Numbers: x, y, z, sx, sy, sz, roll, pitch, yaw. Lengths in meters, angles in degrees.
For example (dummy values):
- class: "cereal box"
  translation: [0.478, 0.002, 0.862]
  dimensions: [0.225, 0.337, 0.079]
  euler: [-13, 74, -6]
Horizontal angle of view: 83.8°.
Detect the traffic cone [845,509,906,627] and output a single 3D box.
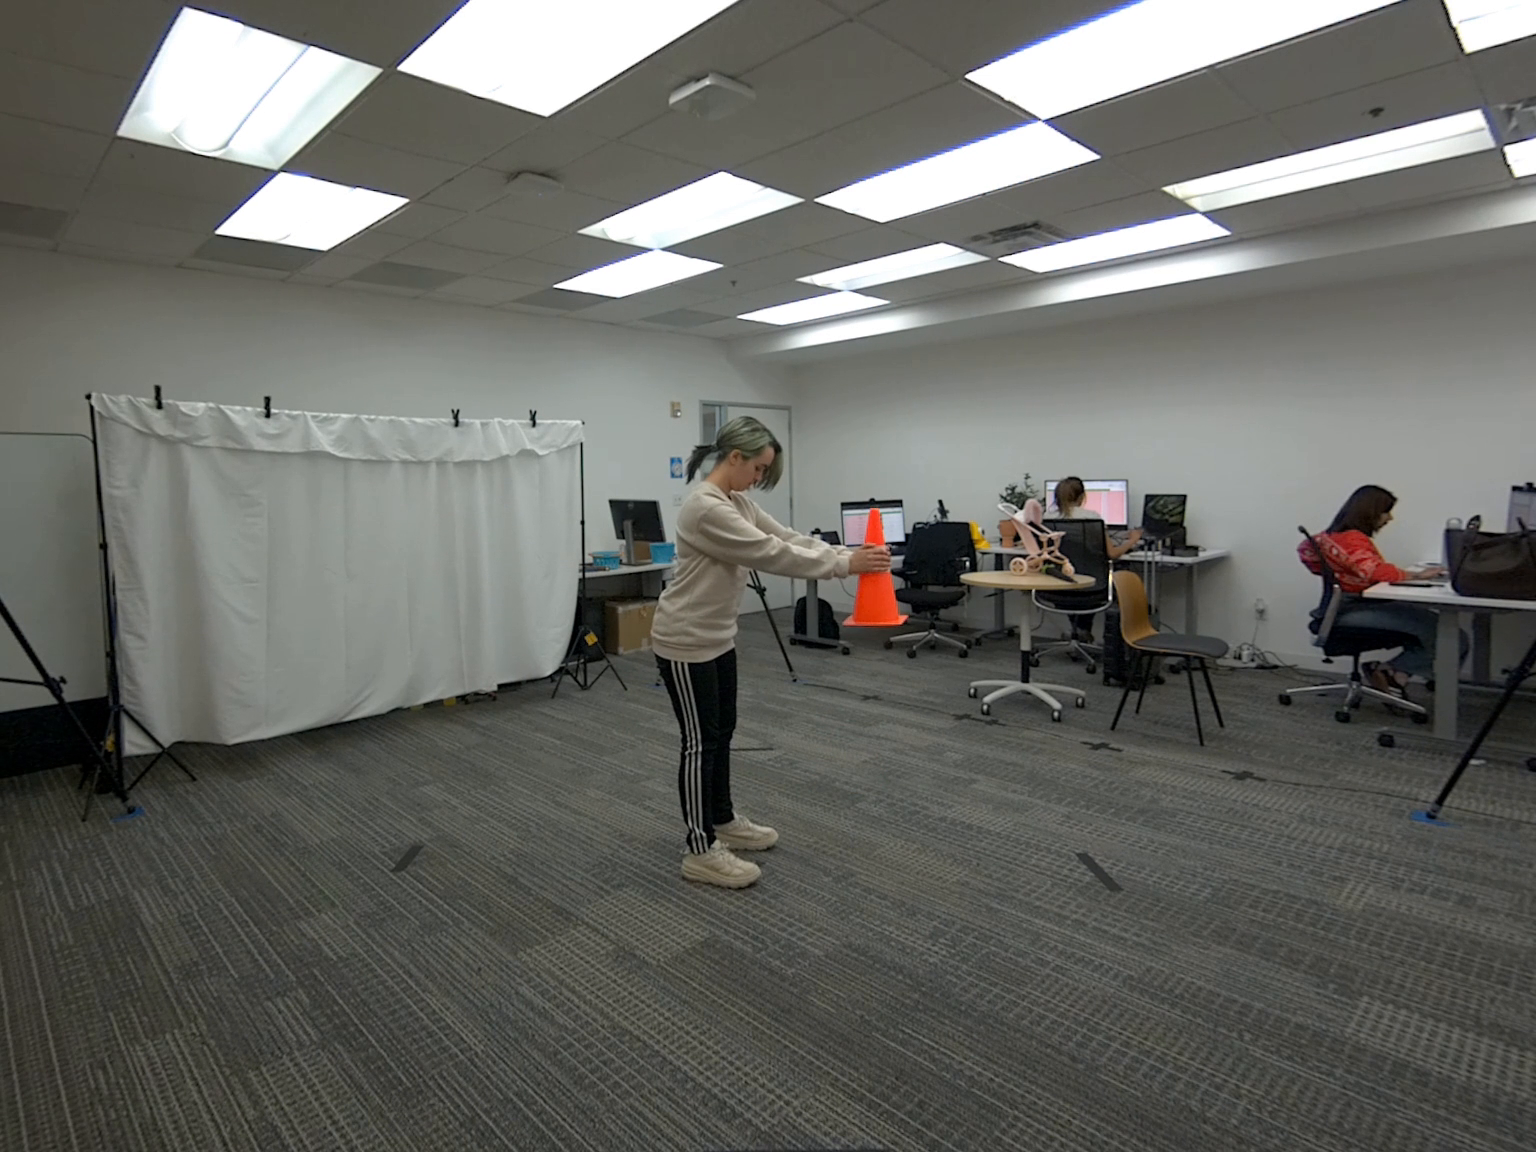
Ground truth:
- class: "traffic cone"
  translation: [0.357, -0.038, 2.901]
  dimensions: [0.207, 0.382, 0.202]
  euler: [1, 6, 20]
